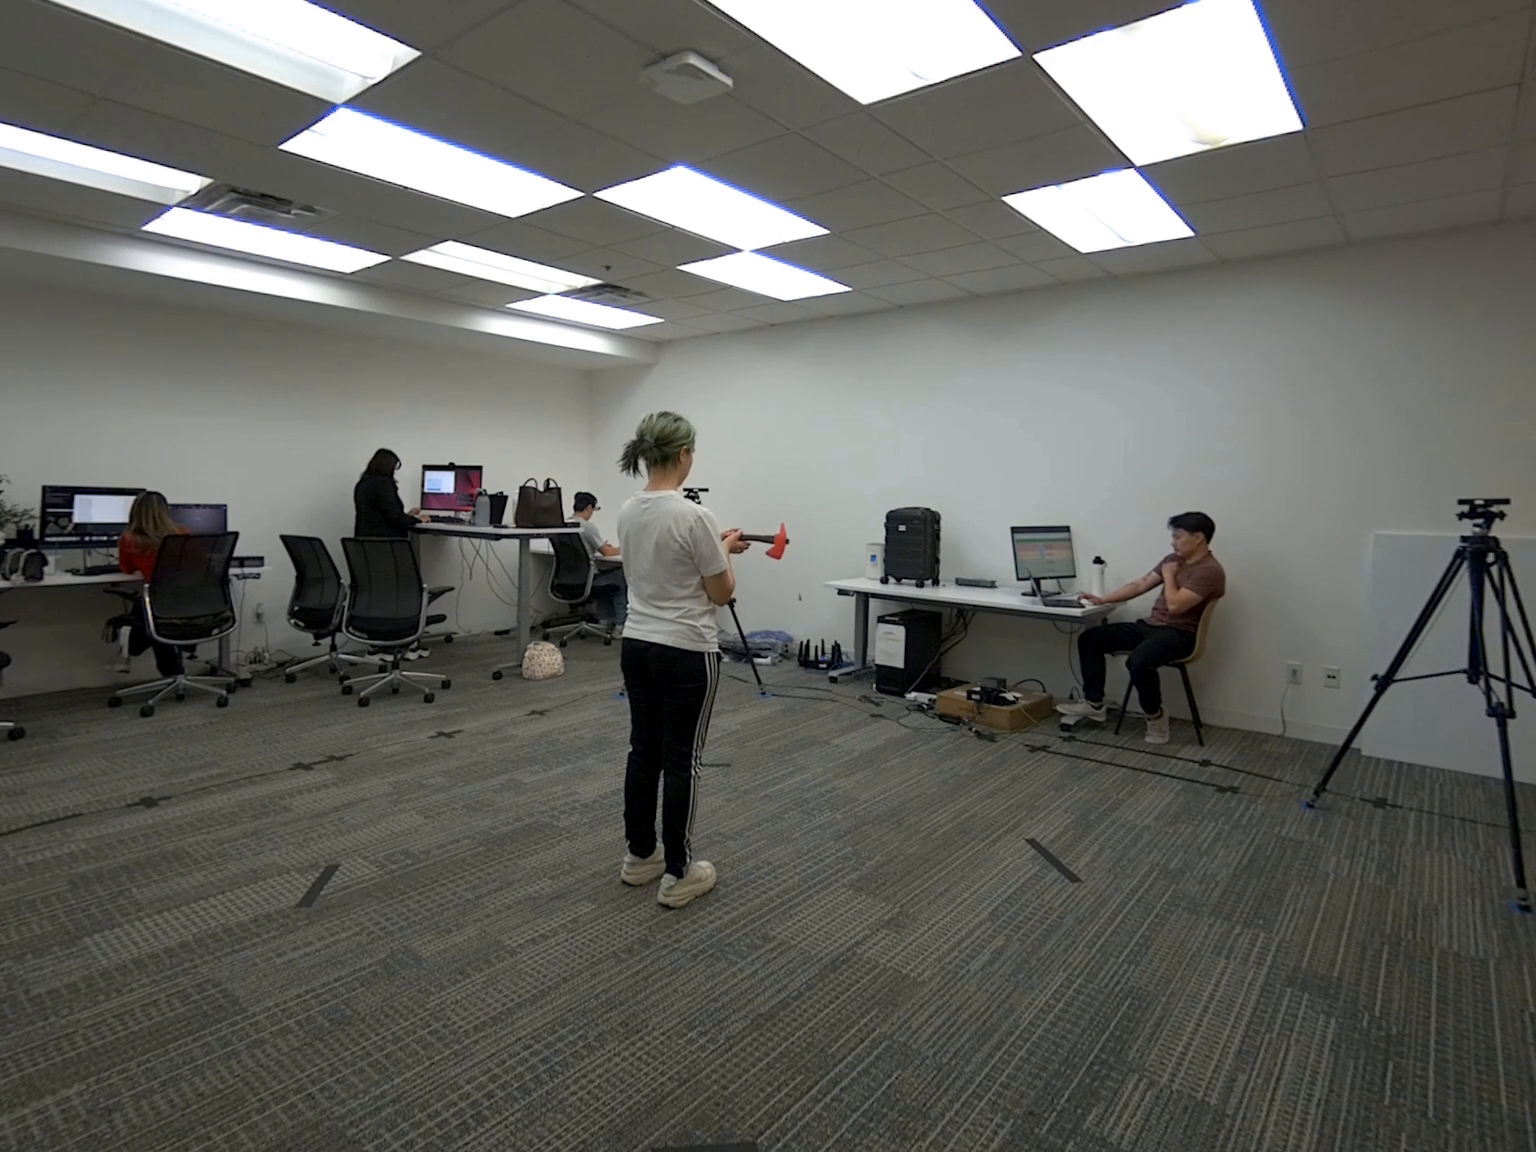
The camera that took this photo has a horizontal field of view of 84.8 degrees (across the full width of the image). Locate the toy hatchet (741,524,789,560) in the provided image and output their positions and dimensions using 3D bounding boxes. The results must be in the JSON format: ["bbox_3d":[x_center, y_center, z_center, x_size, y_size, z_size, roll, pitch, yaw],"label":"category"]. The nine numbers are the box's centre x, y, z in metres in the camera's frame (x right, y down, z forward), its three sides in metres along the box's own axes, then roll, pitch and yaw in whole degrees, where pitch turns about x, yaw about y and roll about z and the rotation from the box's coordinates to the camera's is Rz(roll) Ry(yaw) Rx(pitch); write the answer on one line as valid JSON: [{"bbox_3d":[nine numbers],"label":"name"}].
[{"bbox_3d":[-0.066,-0.108,3.083,0.272,0.133,0.029,-12,-11,11],"label":"toy hatchet"}]
